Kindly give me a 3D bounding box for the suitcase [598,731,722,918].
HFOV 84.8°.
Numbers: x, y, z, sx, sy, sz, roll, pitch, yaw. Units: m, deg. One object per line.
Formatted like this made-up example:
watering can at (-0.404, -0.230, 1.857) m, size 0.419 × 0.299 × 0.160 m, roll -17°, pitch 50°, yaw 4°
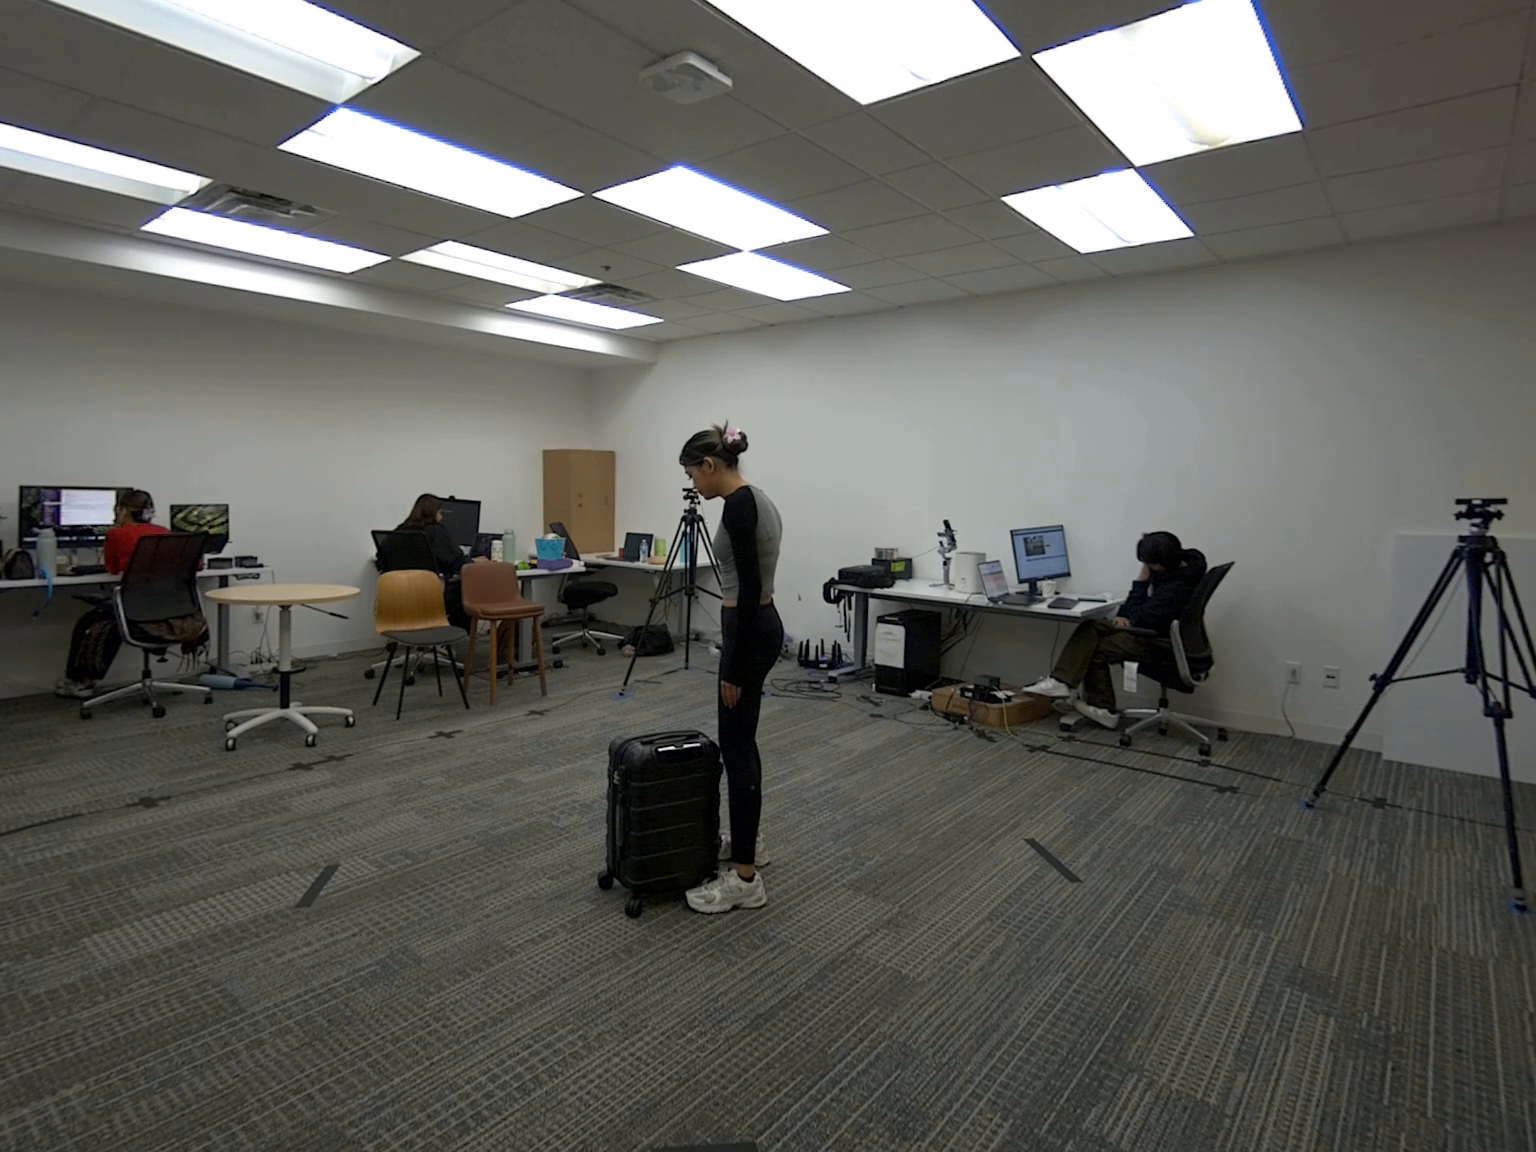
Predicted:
suitcase at (-0.375, 0.808, 2.930) m, size 0.365 × 0.548 × 0.256 m, roll -1°, pitch 3°, yaw -31°
